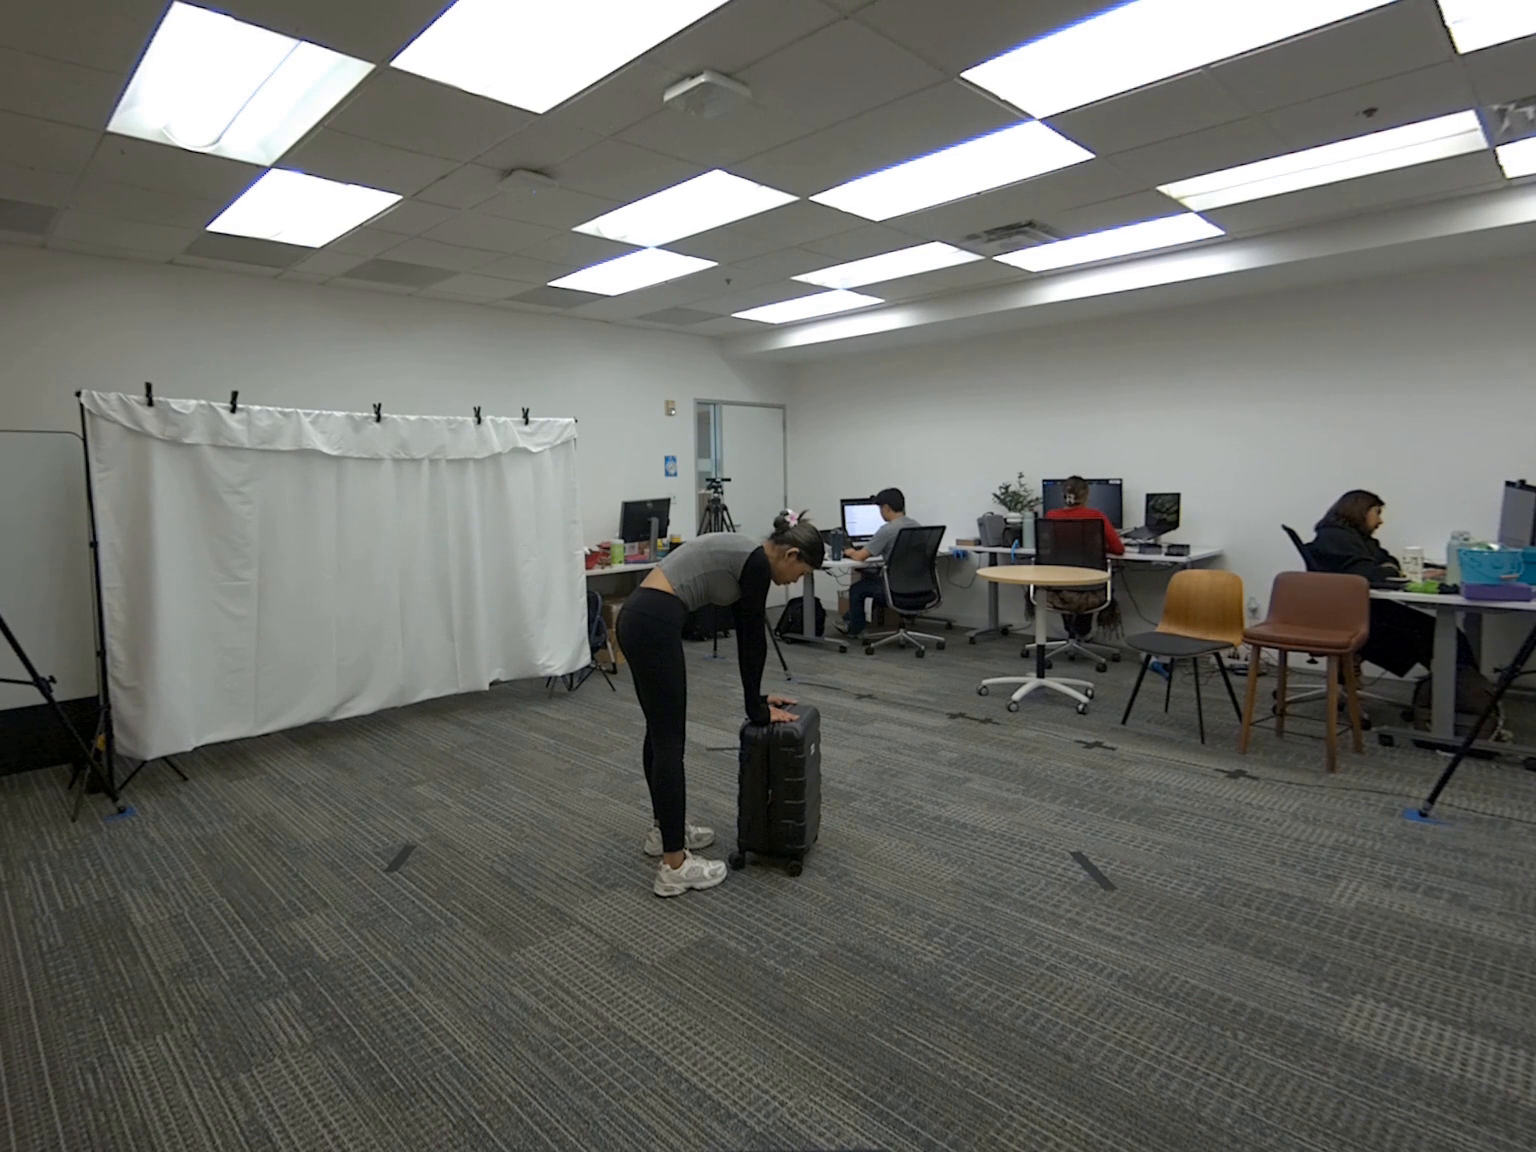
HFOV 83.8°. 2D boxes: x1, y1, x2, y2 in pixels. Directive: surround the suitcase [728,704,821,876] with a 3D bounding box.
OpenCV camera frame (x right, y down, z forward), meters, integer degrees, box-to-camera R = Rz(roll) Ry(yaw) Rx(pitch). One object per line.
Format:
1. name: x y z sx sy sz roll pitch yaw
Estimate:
1. suitcase: 0.043 0.758 3.168 0.253 0.547 0.370 2 5 17
